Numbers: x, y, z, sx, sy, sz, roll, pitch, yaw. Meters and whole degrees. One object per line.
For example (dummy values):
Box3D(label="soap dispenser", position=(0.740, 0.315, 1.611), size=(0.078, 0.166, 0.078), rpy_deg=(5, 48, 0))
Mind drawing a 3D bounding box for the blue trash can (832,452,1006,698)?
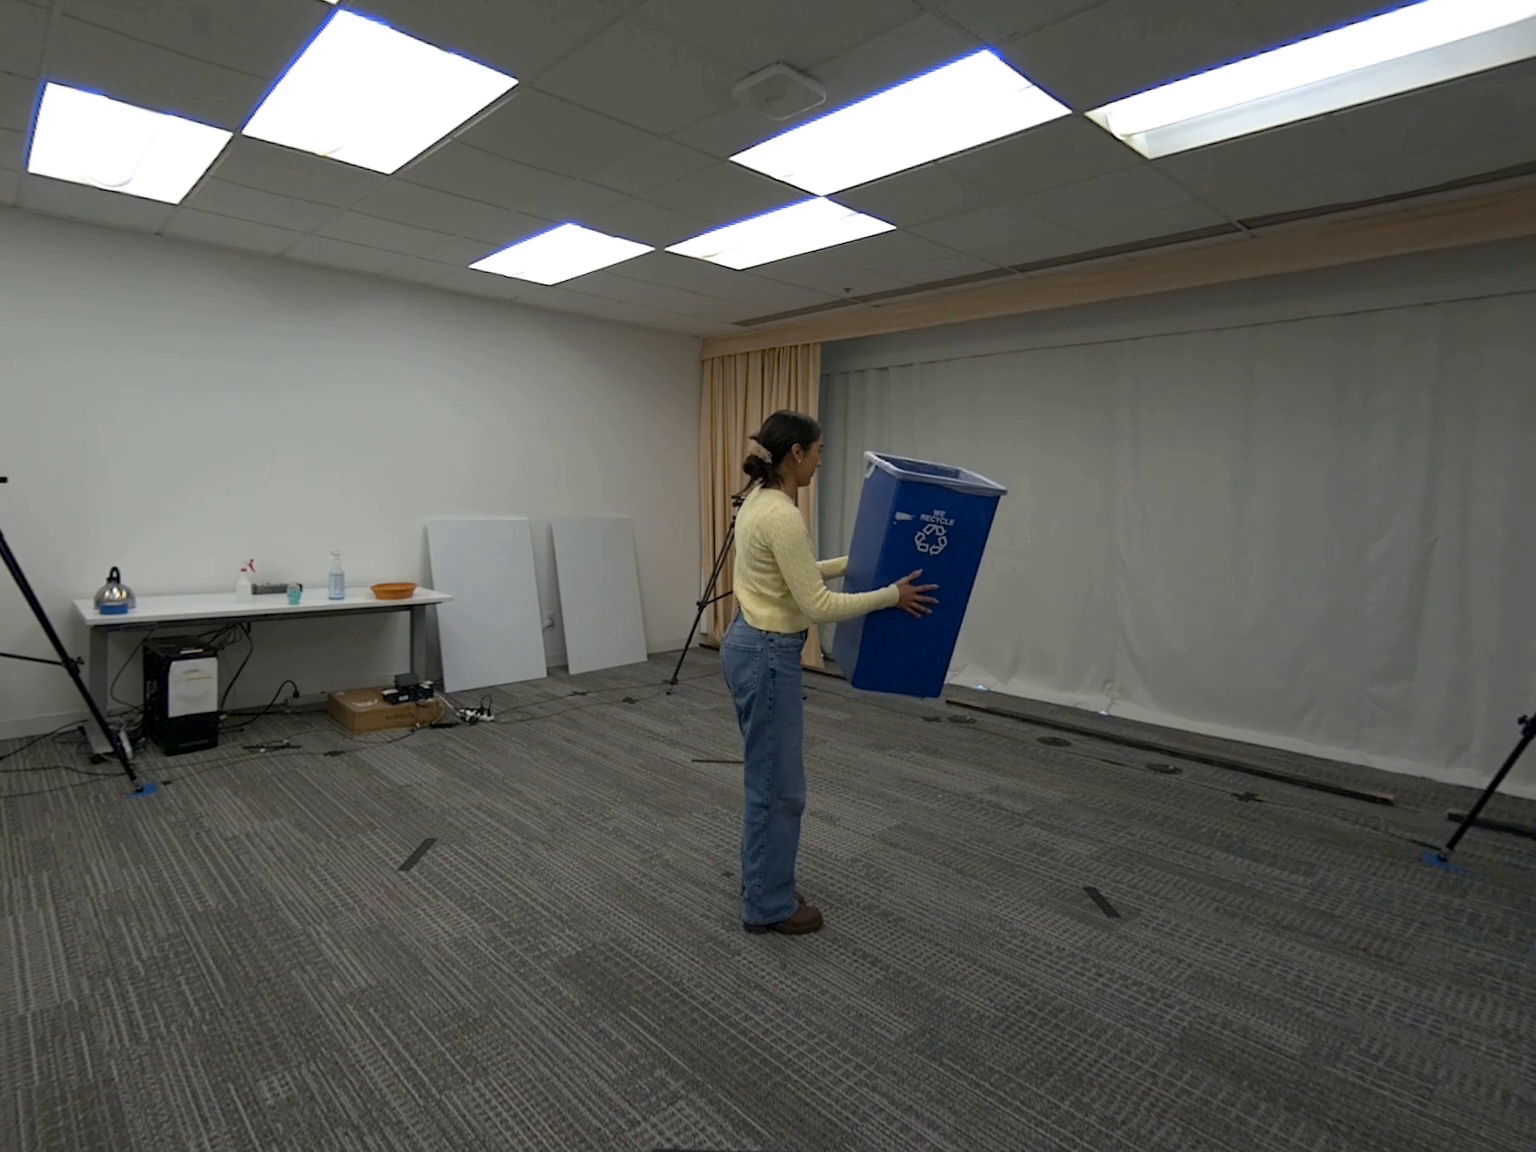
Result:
Box3D(label="blue trash can", position=(0.455, -0.006, 2.752), size=(0.371, 0.707, 0.385), rpy_deg=(8, 15, -11))
